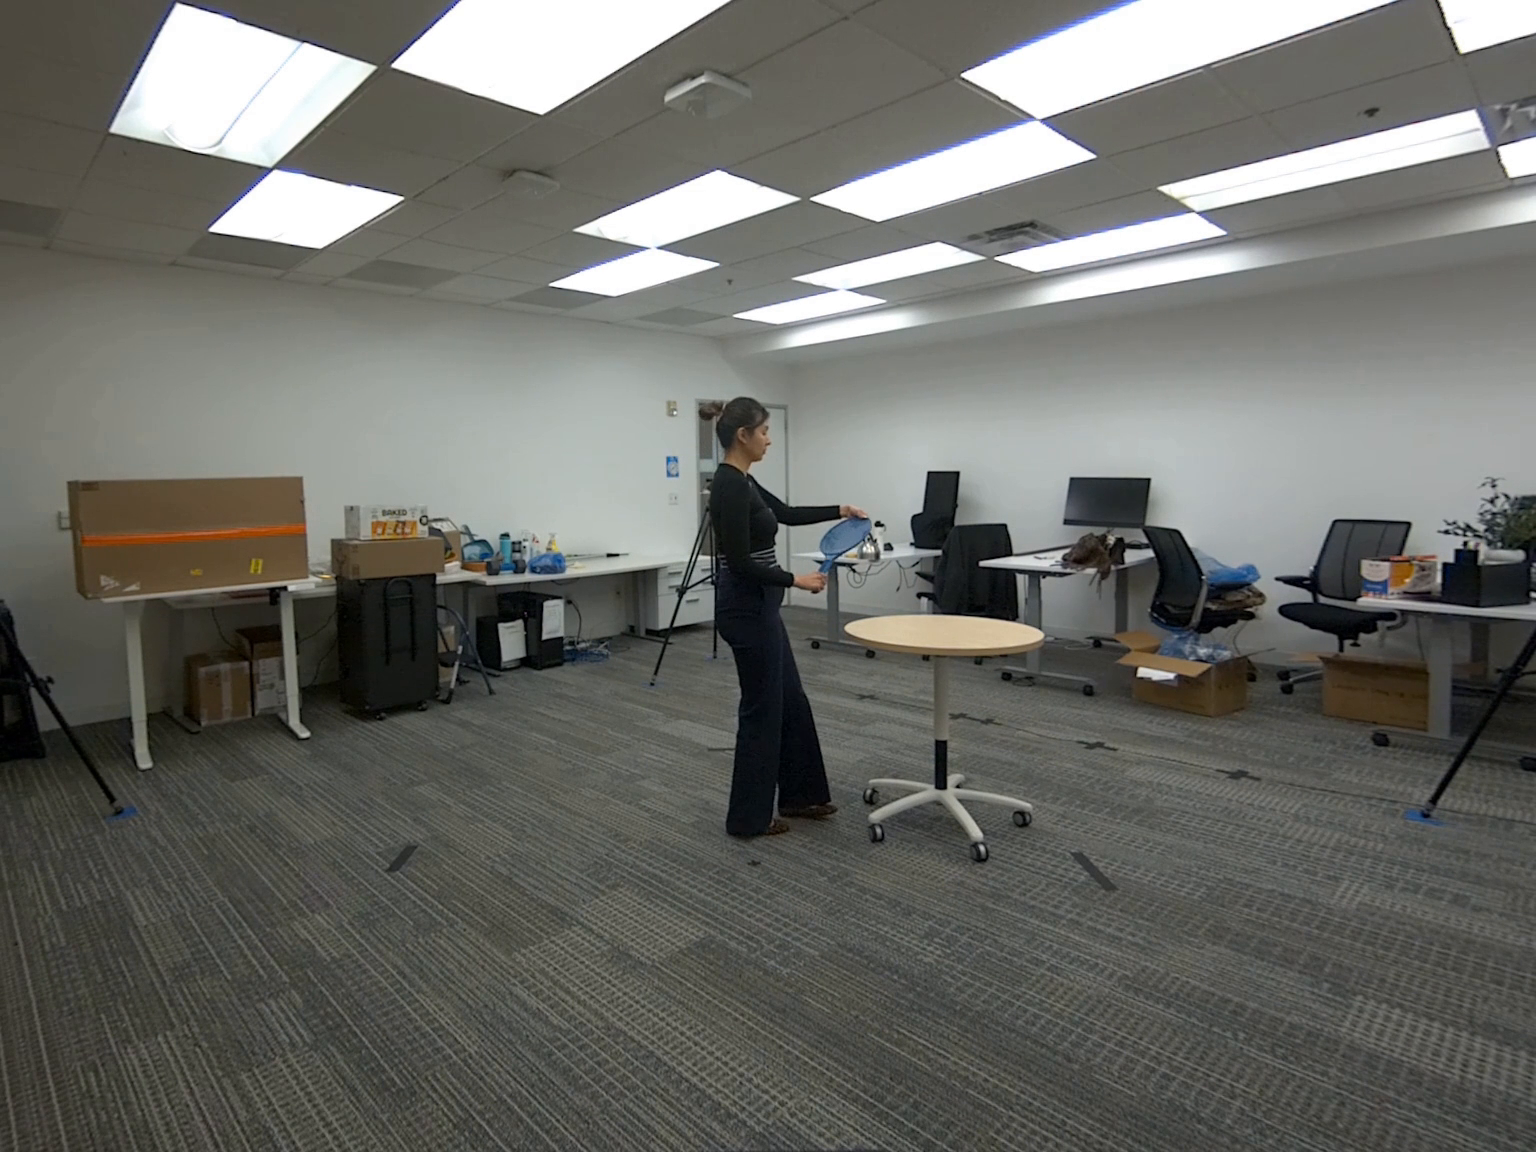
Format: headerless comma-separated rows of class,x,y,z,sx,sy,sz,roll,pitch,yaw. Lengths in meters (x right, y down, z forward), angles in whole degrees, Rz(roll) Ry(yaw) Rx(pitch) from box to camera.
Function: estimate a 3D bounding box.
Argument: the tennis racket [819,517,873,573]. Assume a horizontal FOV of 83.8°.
tennis racket,0.273,-0.112,3.399,0.219,0.031,0.434,-6,34,38
